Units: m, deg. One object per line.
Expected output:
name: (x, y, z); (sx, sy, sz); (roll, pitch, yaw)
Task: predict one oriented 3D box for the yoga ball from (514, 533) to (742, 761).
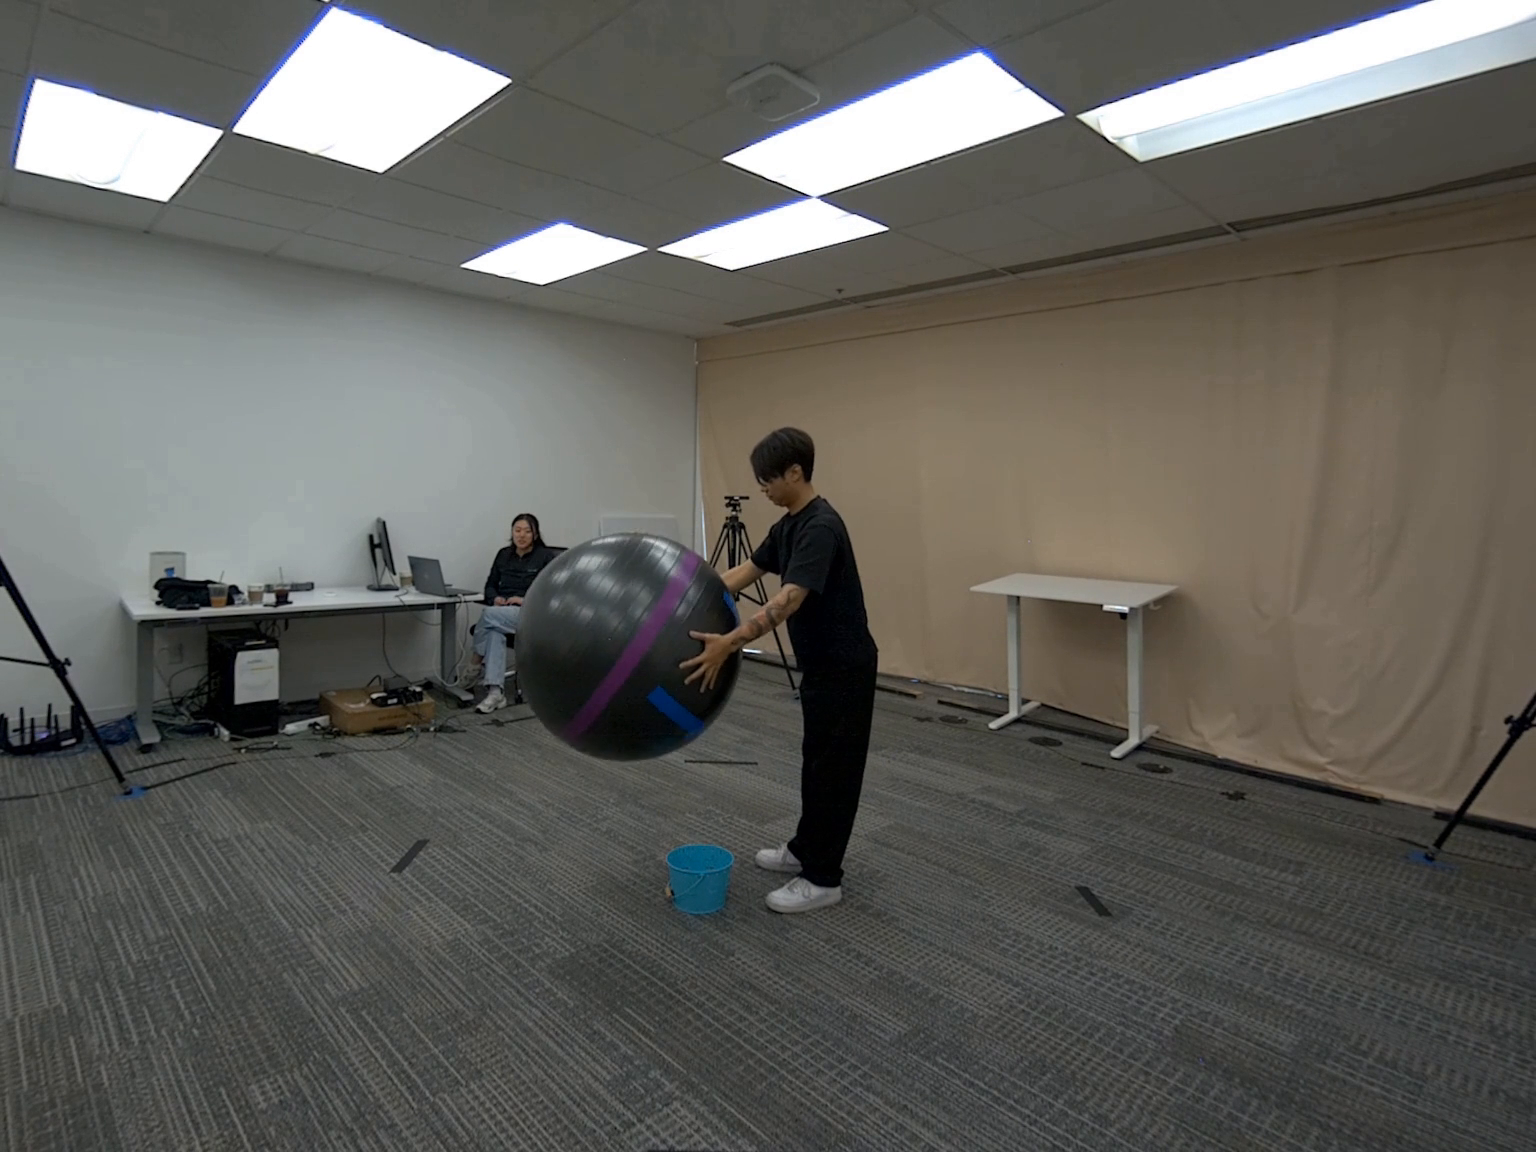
yoga ball: (-0.474, 0.236, 2.832); (0.757, 0.756, 0.761); (1, 4, -1)
